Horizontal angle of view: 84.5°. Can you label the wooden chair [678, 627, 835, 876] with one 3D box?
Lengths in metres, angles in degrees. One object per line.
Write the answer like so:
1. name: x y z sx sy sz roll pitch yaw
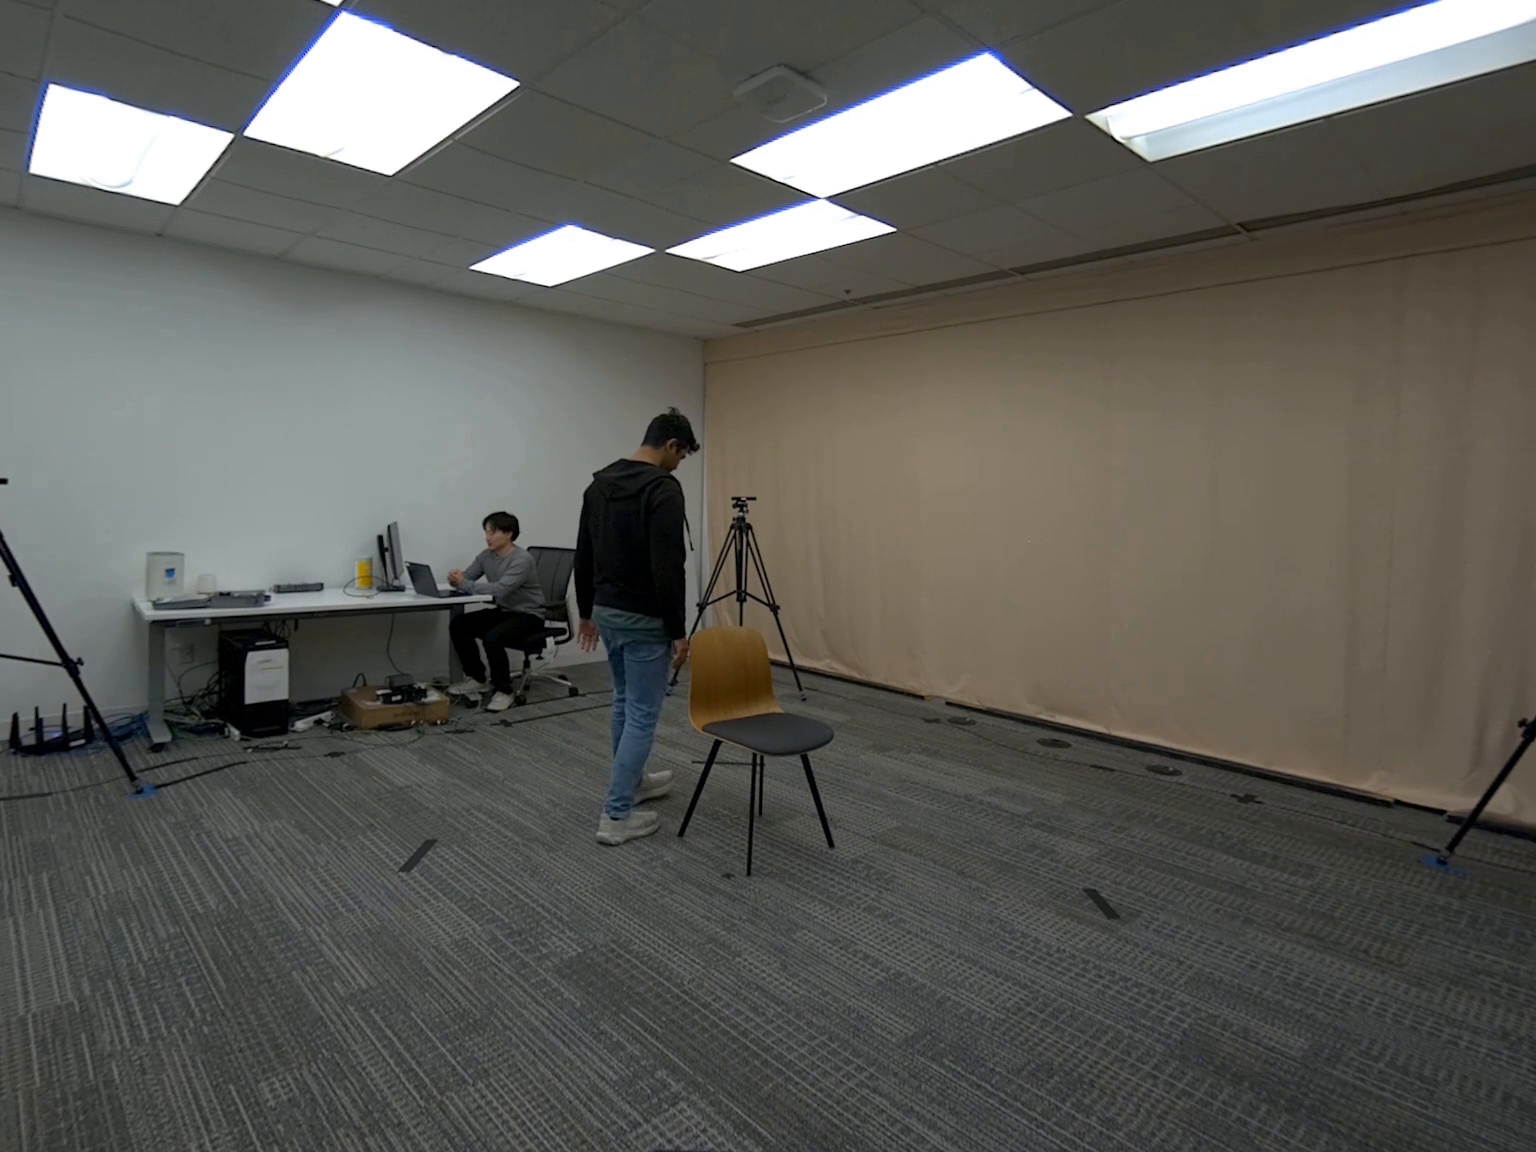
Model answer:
1. wooden chair: -0.043 0.659 3.380 0.467 0.878 0.535 0 -1 -40
